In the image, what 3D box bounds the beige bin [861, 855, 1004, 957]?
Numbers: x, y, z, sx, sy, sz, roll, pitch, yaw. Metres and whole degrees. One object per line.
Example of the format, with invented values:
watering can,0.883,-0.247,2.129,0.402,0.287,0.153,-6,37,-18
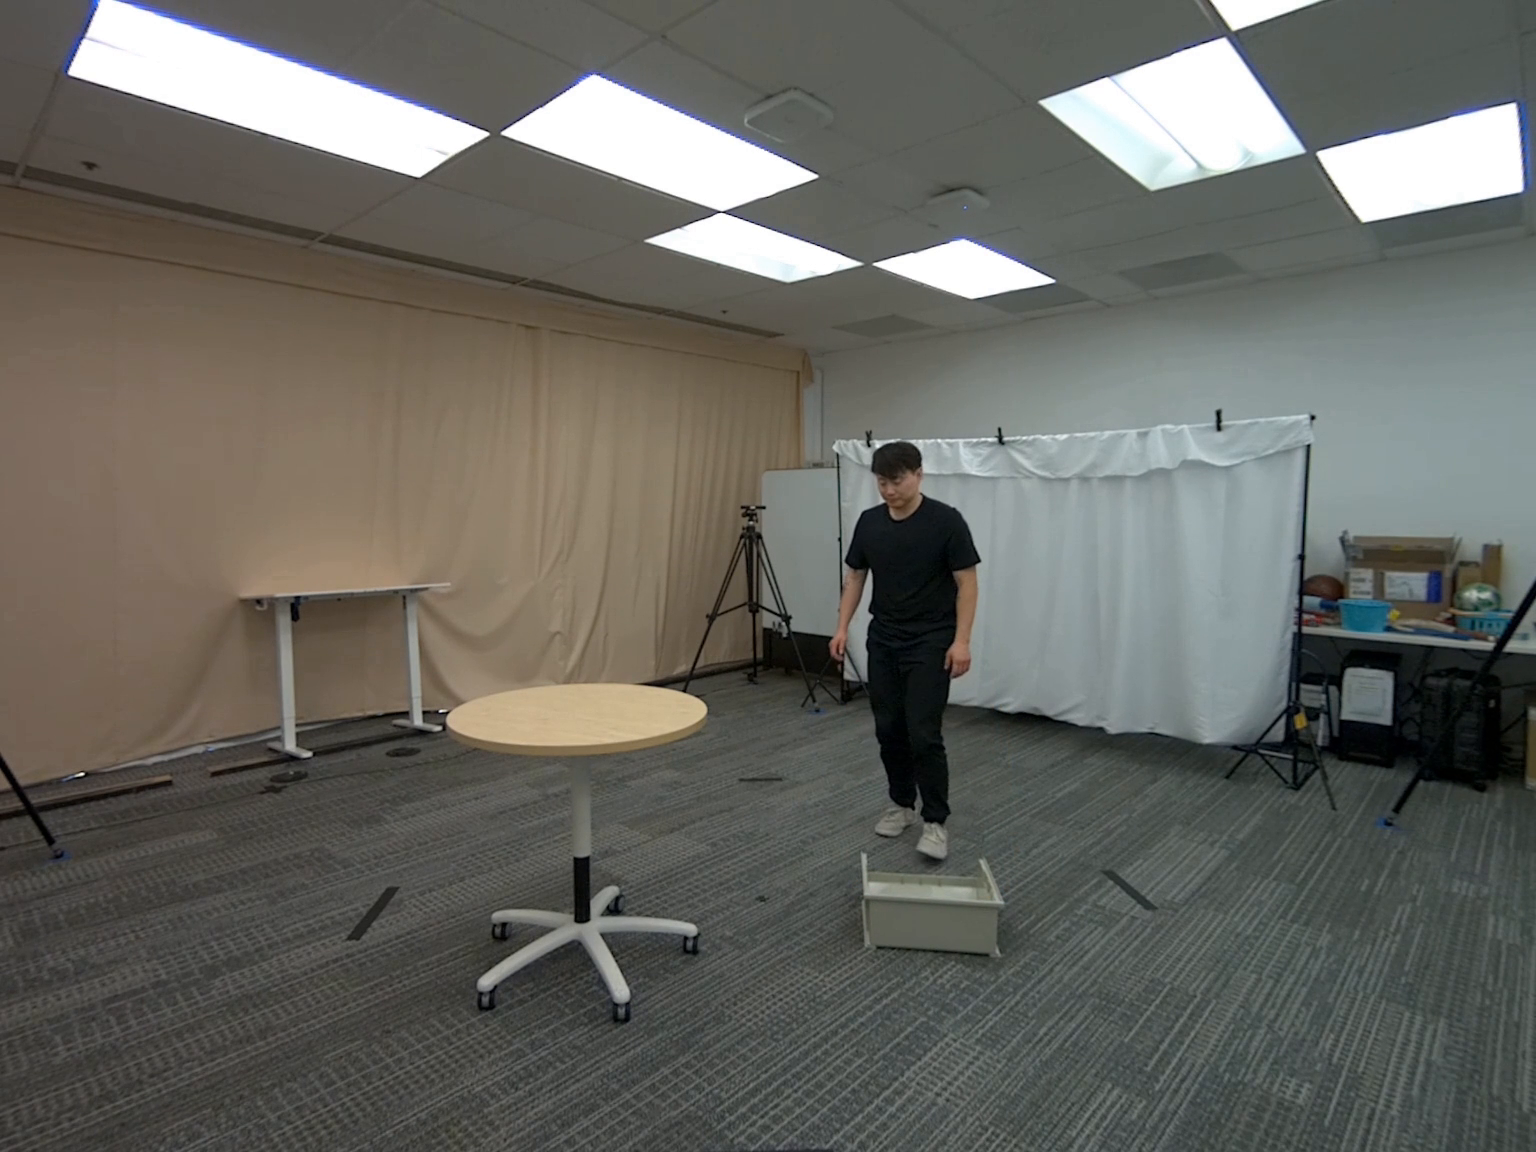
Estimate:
beige bin,0.530,1.074,2.780,0.426,0.188,0.375,1,5,6
